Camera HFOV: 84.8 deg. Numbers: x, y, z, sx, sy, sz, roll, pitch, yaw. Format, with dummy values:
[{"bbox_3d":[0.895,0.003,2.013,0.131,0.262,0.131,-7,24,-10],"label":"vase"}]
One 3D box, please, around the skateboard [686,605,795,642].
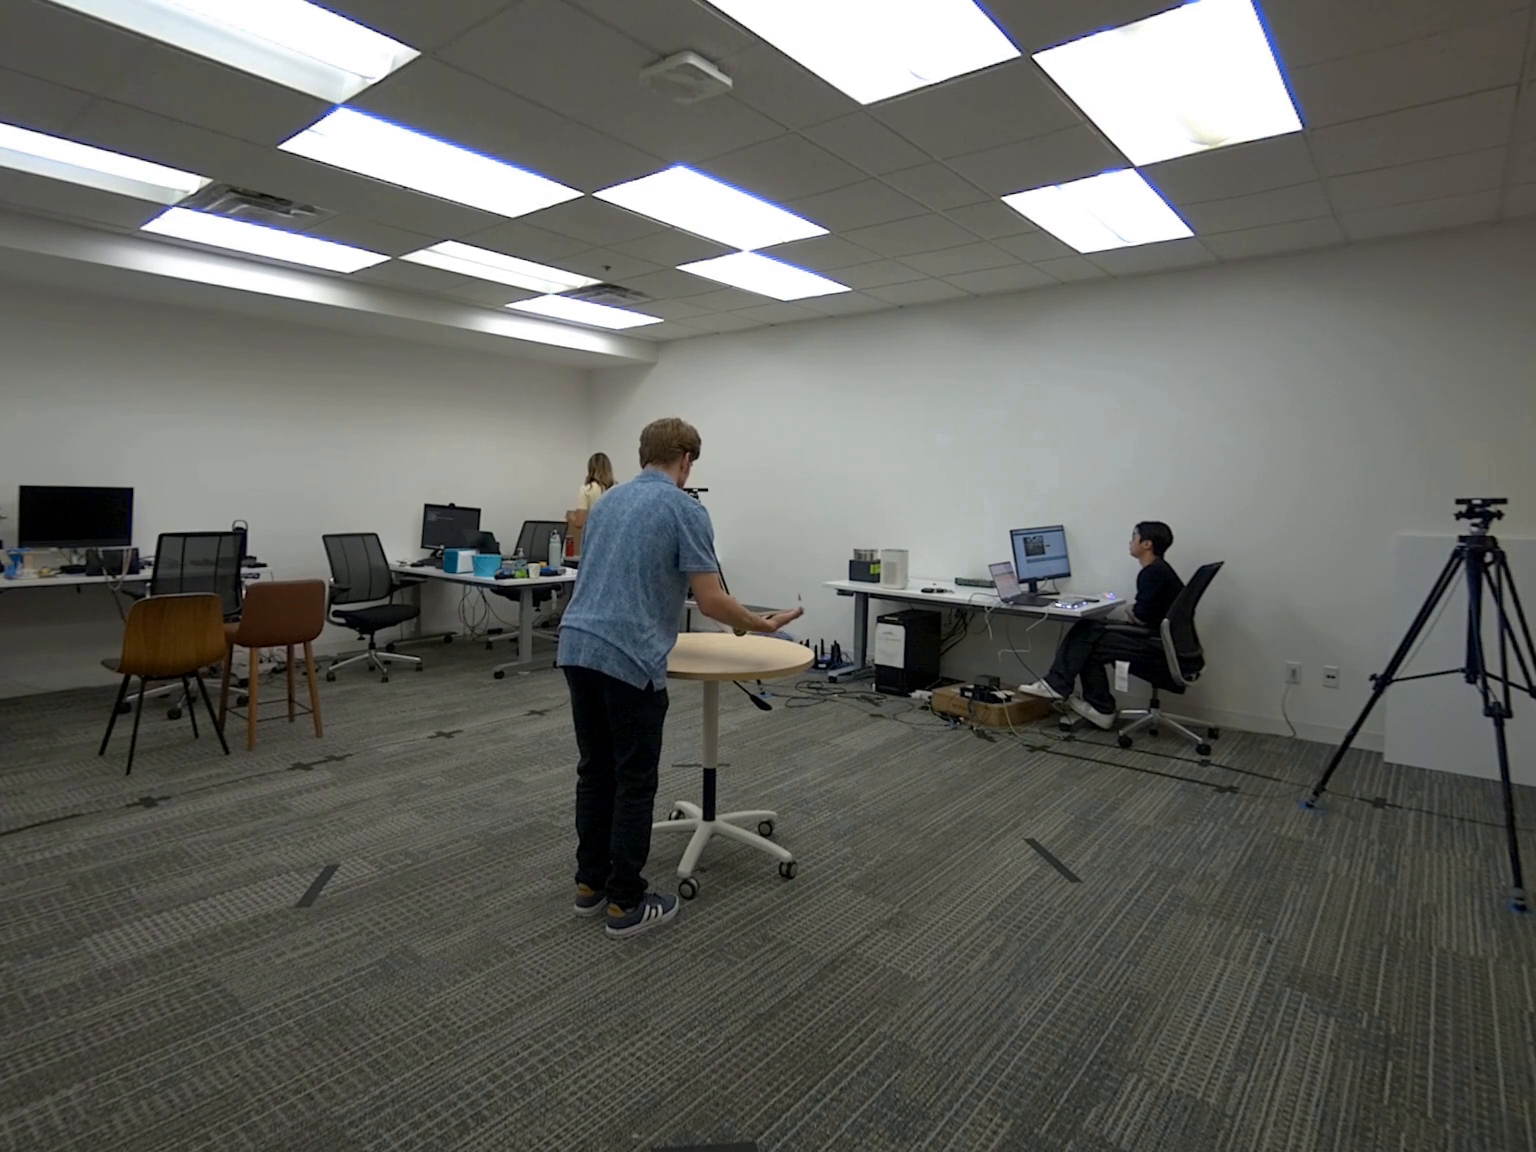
[{"bbox_3d":[-0.239,0.132,3.092,0.810,0.110,0.188,5,5,32],"label":"skateboard"}]
